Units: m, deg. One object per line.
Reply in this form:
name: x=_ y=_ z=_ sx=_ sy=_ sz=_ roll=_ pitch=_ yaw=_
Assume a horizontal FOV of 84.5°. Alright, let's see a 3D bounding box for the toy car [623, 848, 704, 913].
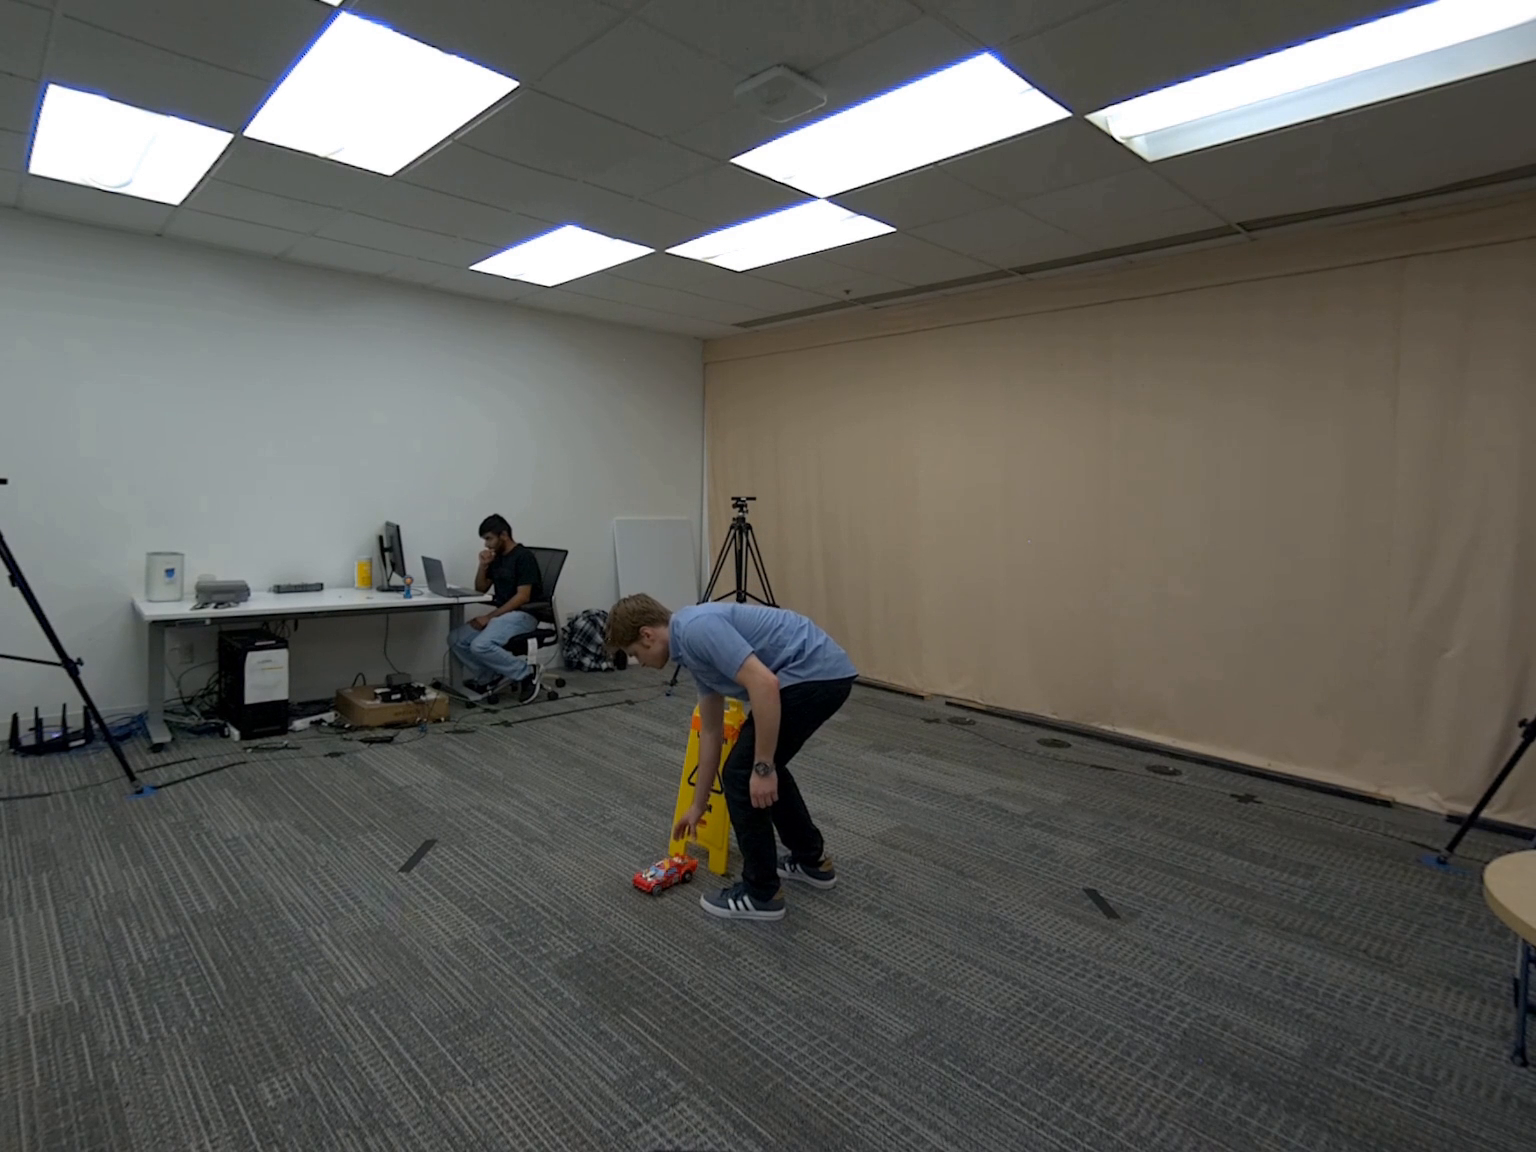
toy car: x=-0.375 y=1.084 z=3.034 sx=0.133 sy=0.082 sz=0.250 roll=4 pitch=13 yaw=43
